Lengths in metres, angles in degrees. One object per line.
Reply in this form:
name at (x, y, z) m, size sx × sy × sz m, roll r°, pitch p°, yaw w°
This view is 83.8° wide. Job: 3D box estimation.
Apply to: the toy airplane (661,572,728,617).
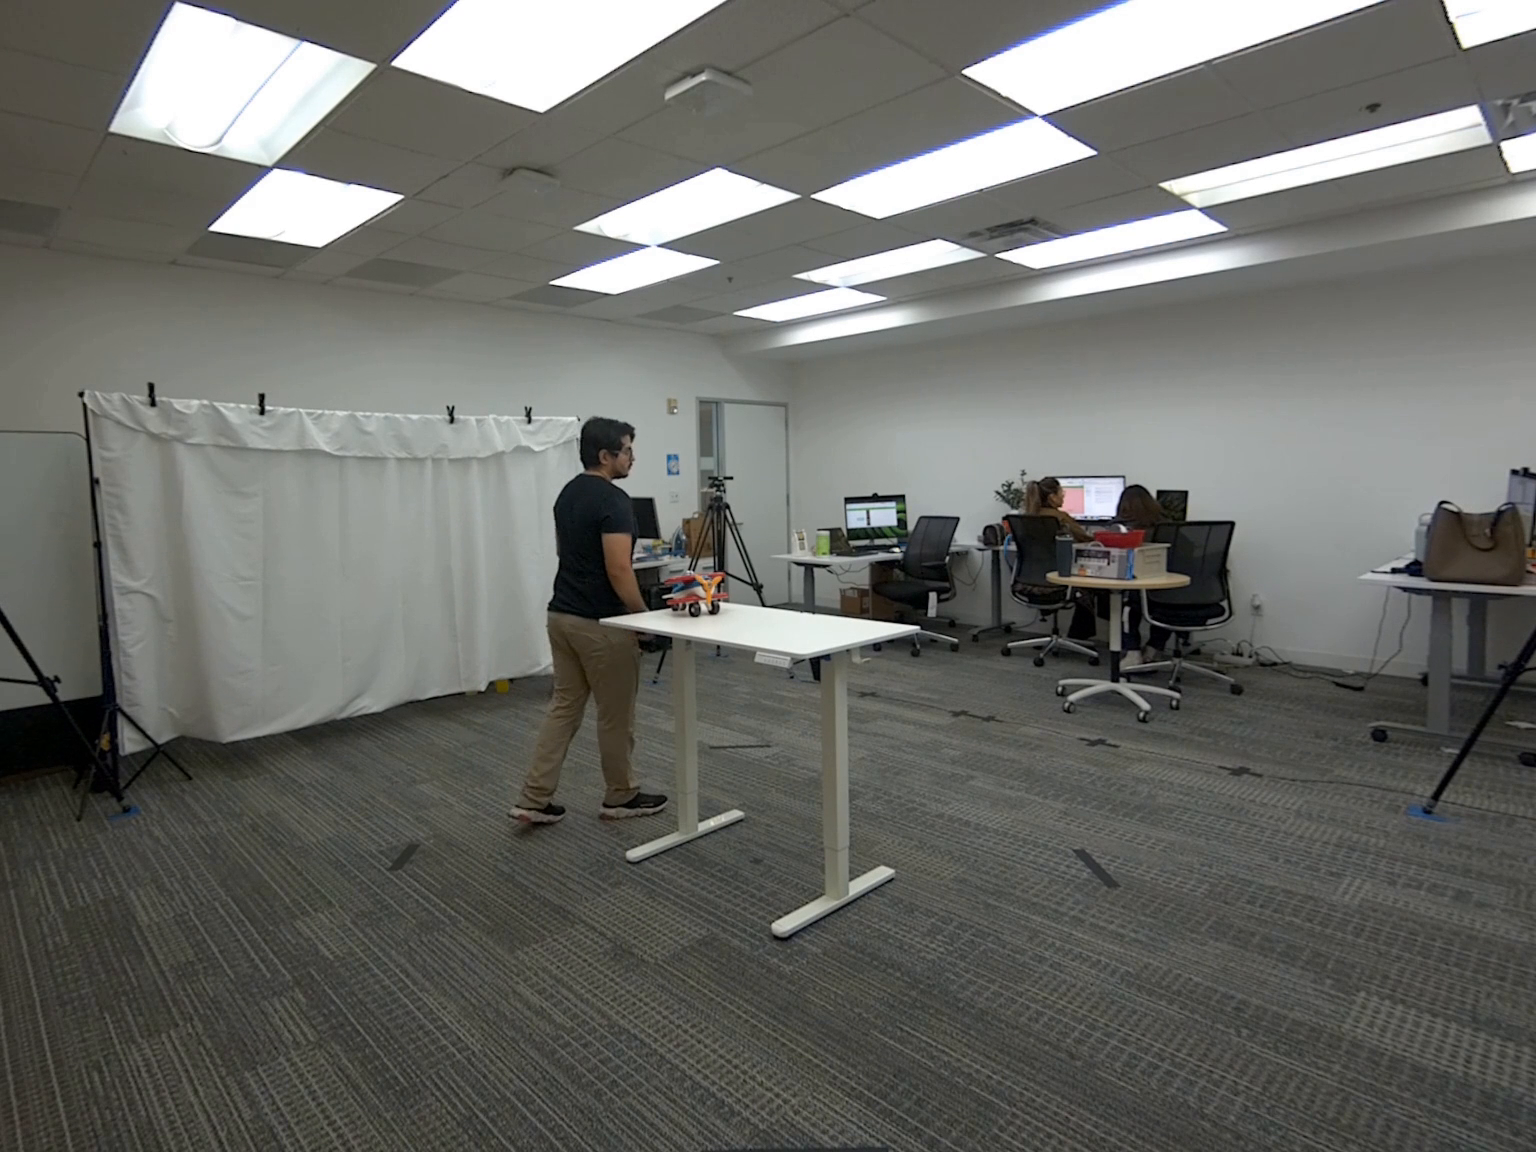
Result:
toy airplane at (-0.296, 0.067, 3.247) m, size 0.265 × 0.156 × 0.246 m, roll 3°, pitch 5°, yaw 25°
